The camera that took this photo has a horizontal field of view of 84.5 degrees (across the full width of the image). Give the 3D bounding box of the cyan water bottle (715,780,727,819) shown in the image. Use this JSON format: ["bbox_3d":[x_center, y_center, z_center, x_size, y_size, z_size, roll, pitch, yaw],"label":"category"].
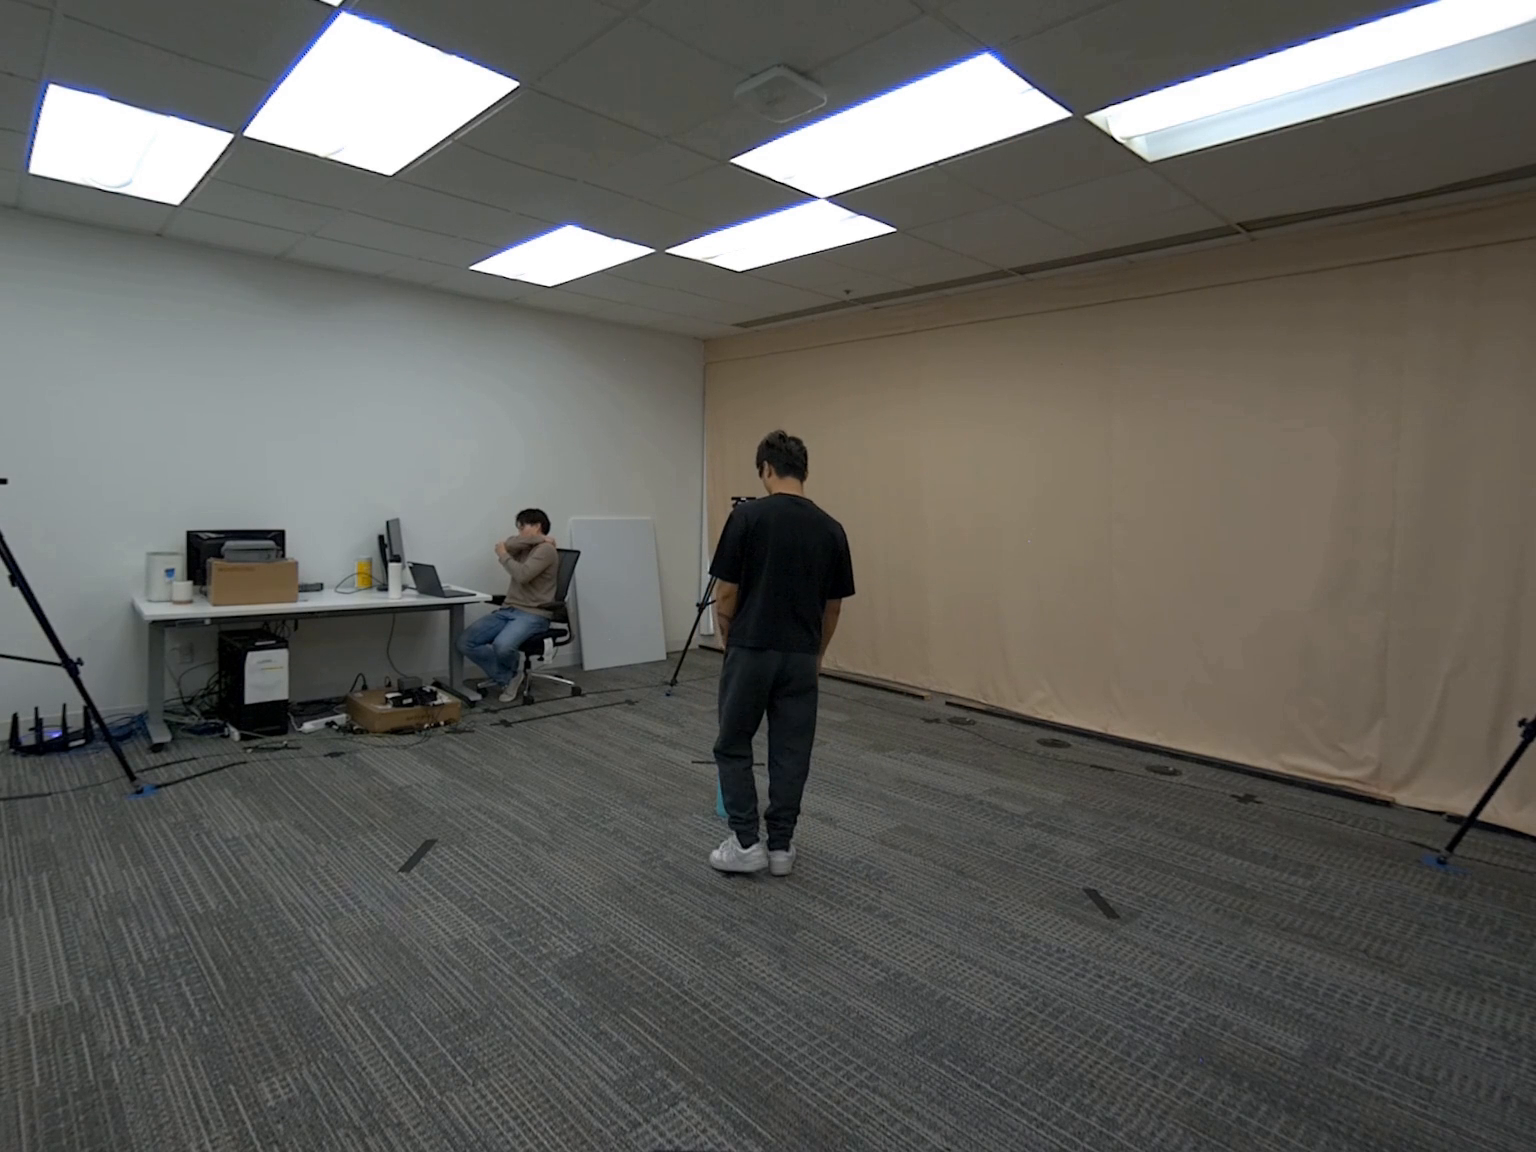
[{"bbox_3d":[-0.185,0.915,3.724,0.092,0.282,0.092,3,4,-2],"label":"cyan water bottle"}]
